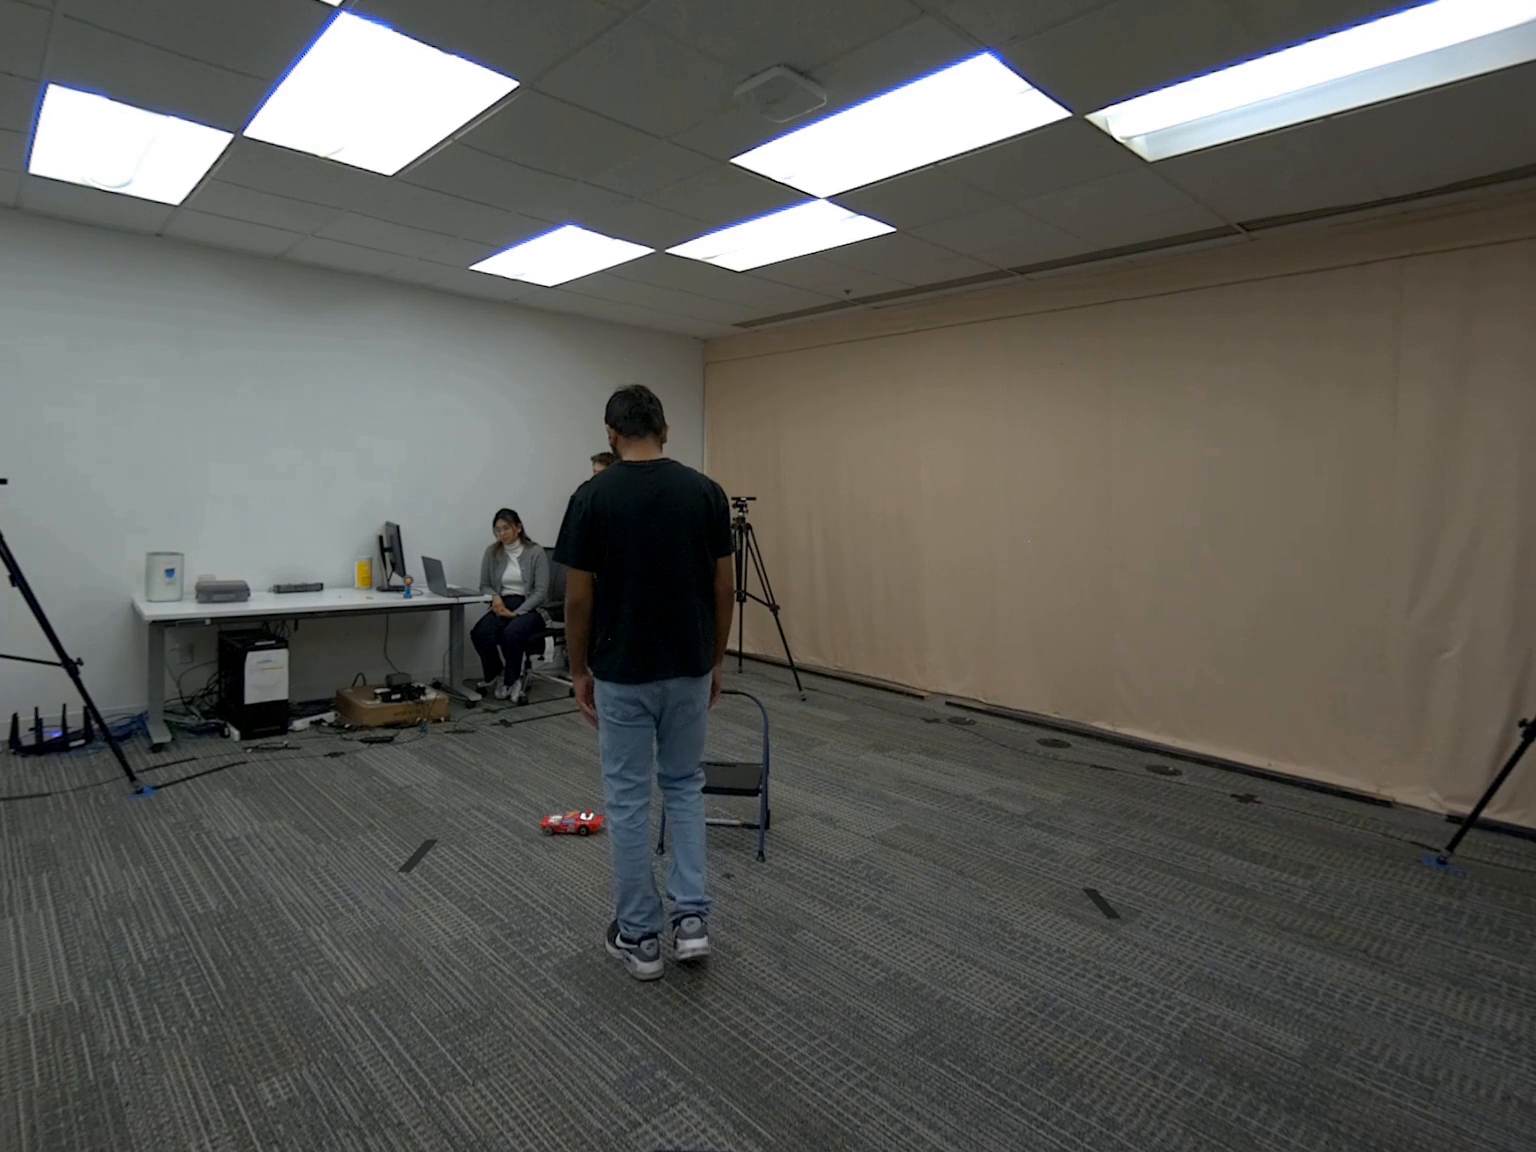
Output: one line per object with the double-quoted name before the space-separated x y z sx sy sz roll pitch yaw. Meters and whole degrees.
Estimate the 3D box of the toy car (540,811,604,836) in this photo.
"toy car" -0.811 1.020 3.487 0.255 0.083 0.131 -10 5 1
